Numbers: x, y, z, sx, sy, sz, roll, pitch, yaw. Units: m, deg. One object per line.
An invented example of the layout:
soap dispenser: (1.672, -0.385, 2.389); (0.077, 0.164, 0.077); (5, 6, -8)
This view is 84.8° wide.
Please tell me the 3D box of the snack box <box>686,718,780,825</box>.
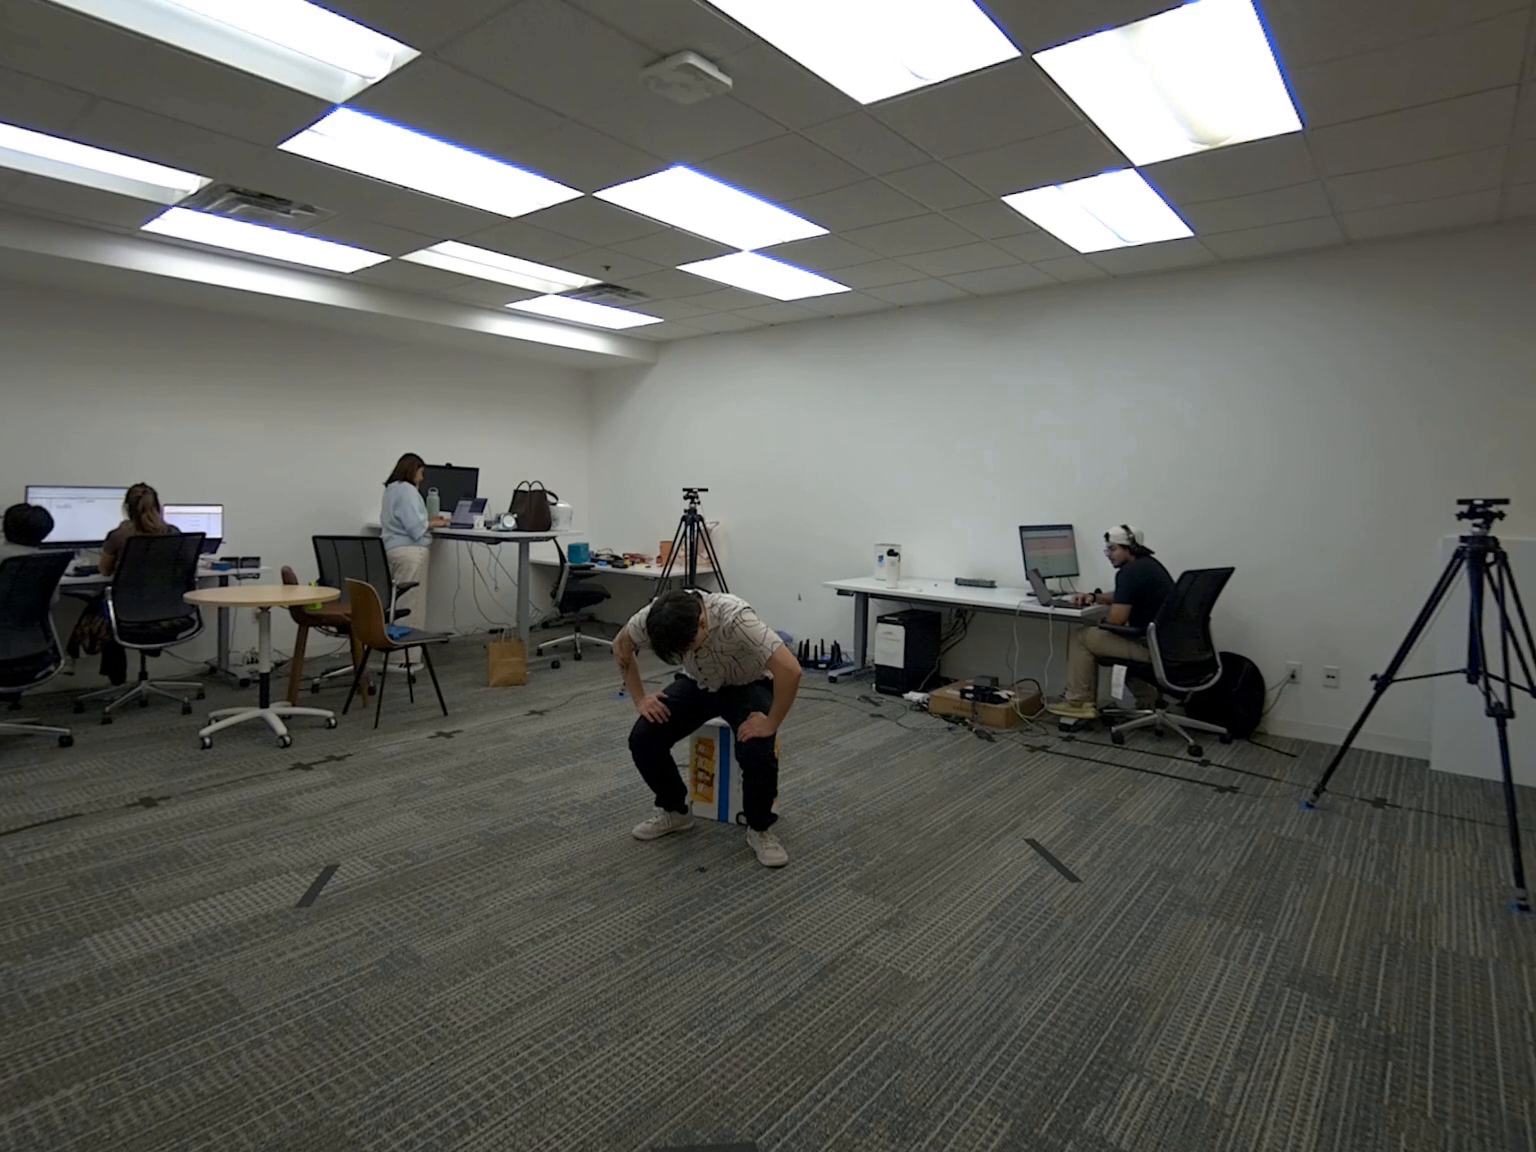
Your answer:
snack box: (-0.152, 0.815, 3.635); (0.349, 0.404, 0.201); (2, 4, 24)
